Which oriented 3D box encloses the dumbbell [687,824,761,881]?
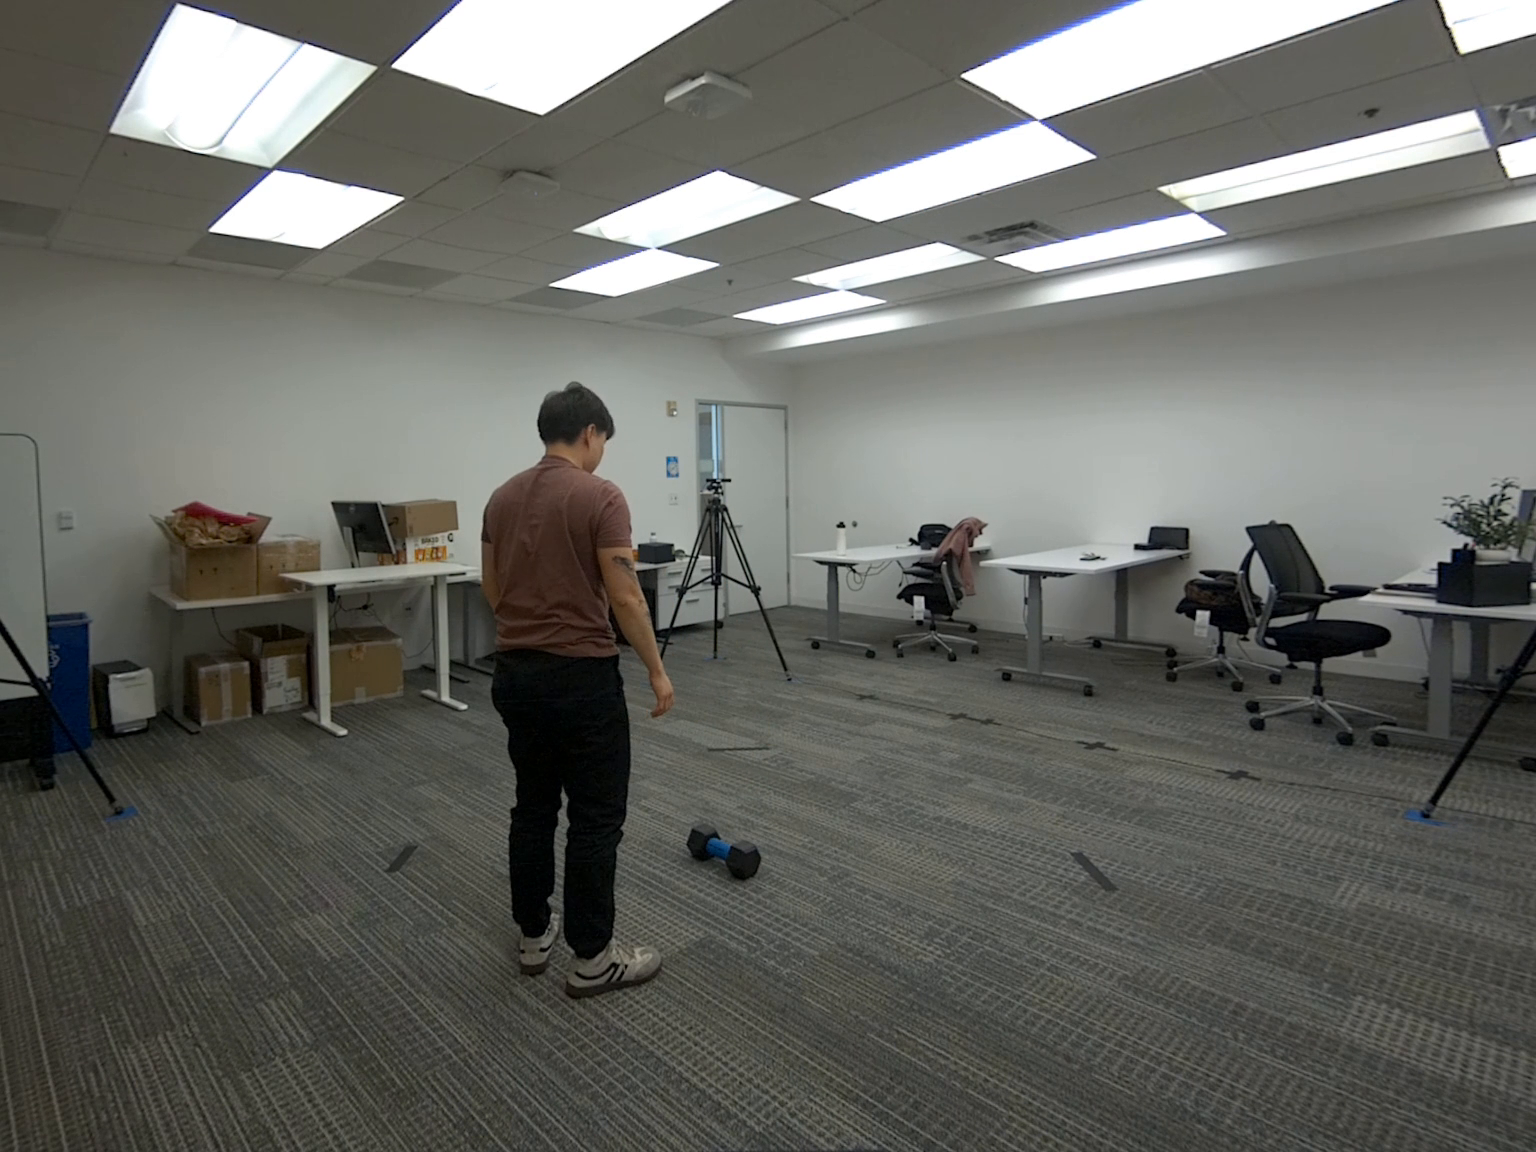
[{"bbox_3d":[-0.158,0.994,3.089,0.303,0.120,0.108,5,35,46],"label":"dumbbell"}]
